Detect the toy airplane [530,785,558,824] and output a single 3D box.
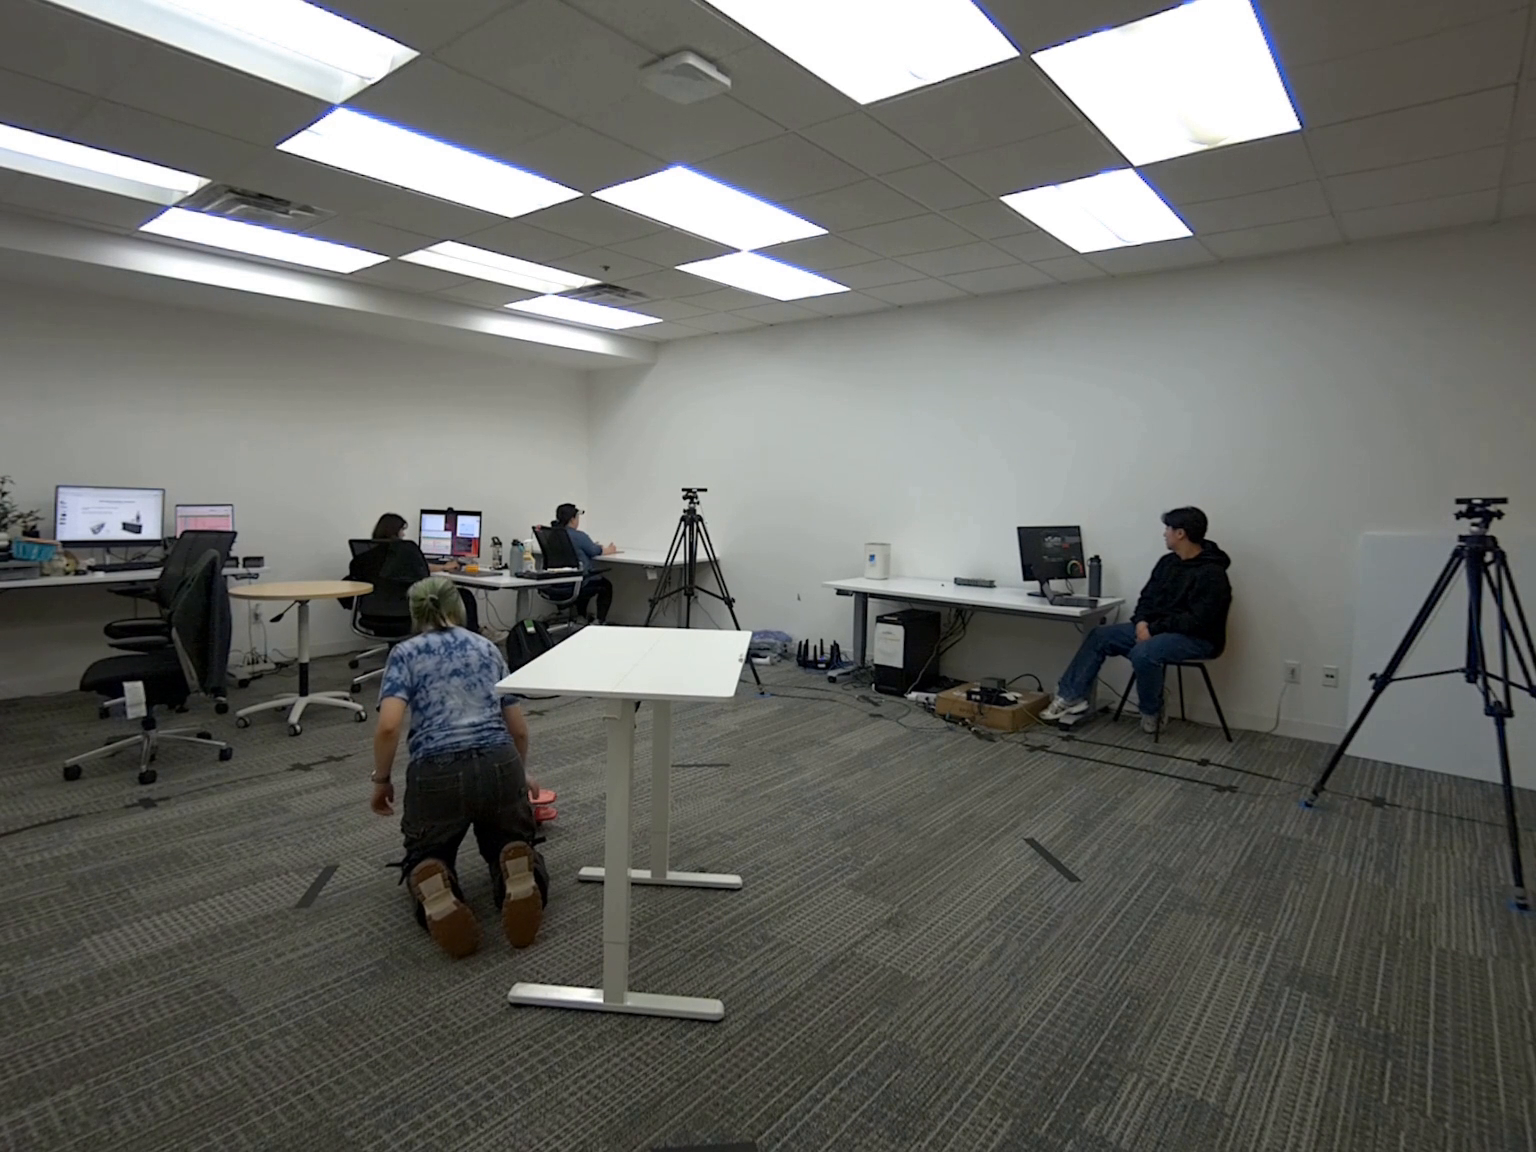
[{"bbox_3d":[-0.975,0.949,3.416,0.245,0.156,0.266,0,5,-25],"label":"toy airplane"}]
